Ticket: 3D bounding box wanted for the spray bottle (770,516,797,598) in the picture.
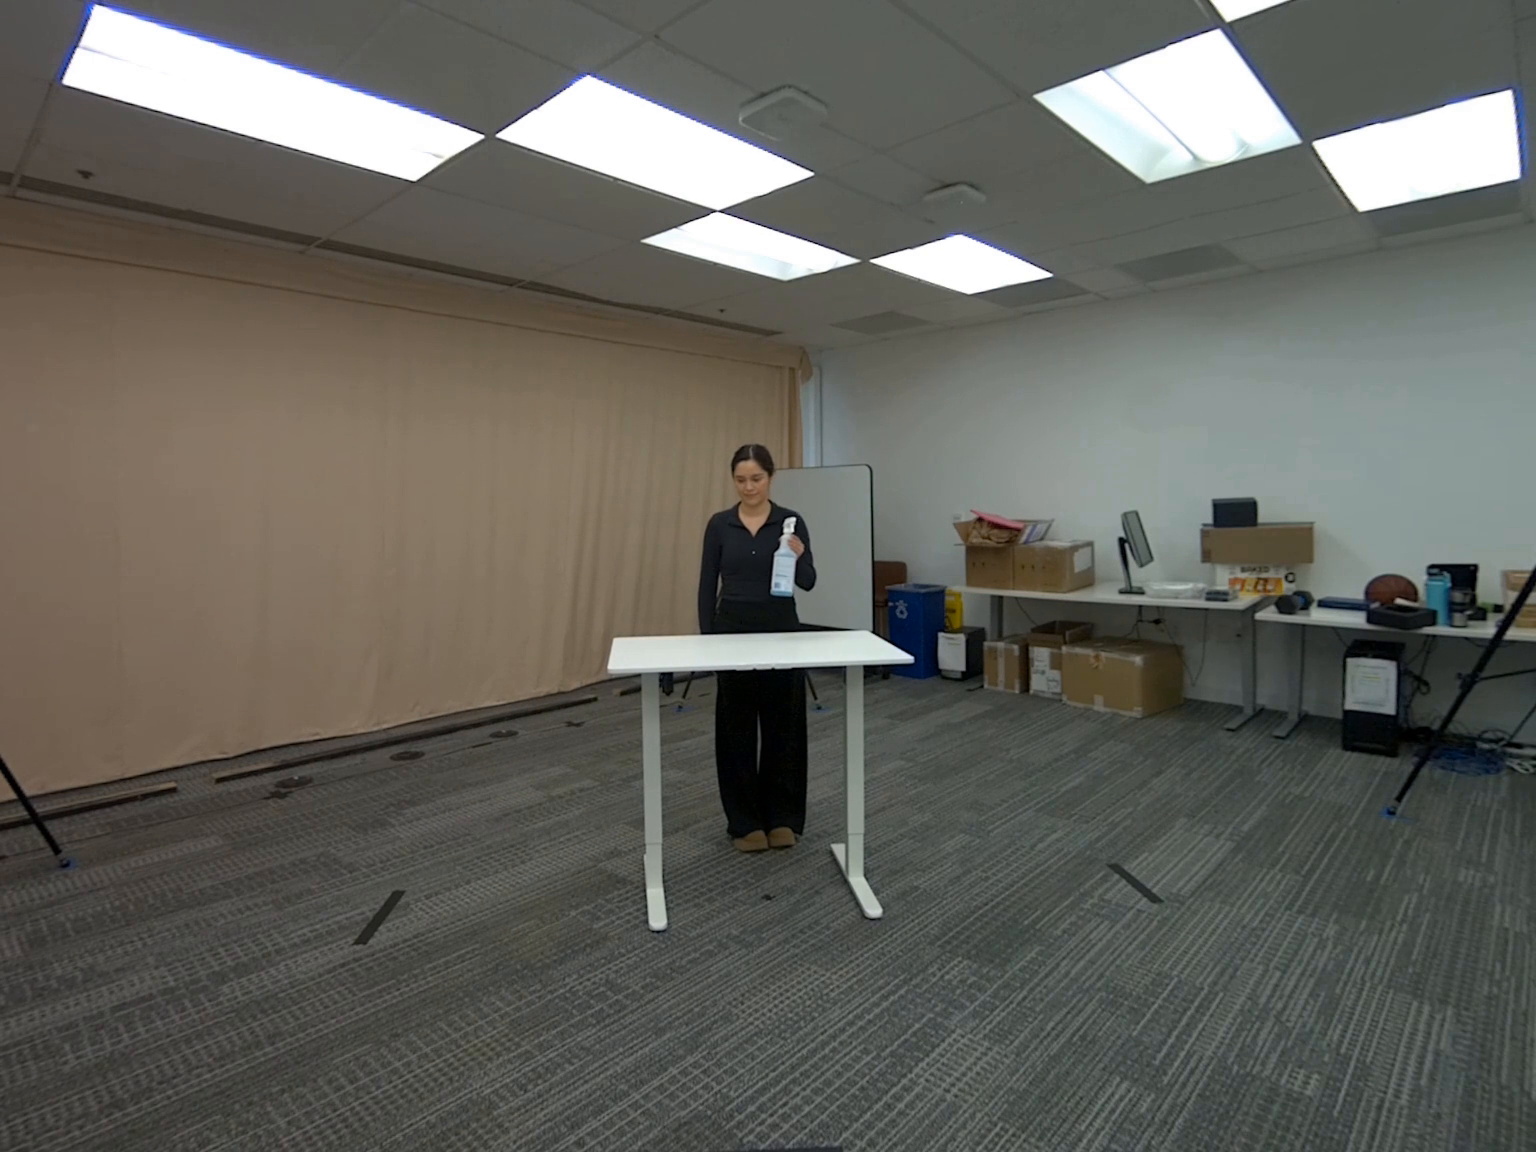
[{"bbox_3d":[0.064,-0.062,3.213,0.088,0.298,0.089,3,-2,7],"label":"spray bottle"}]
